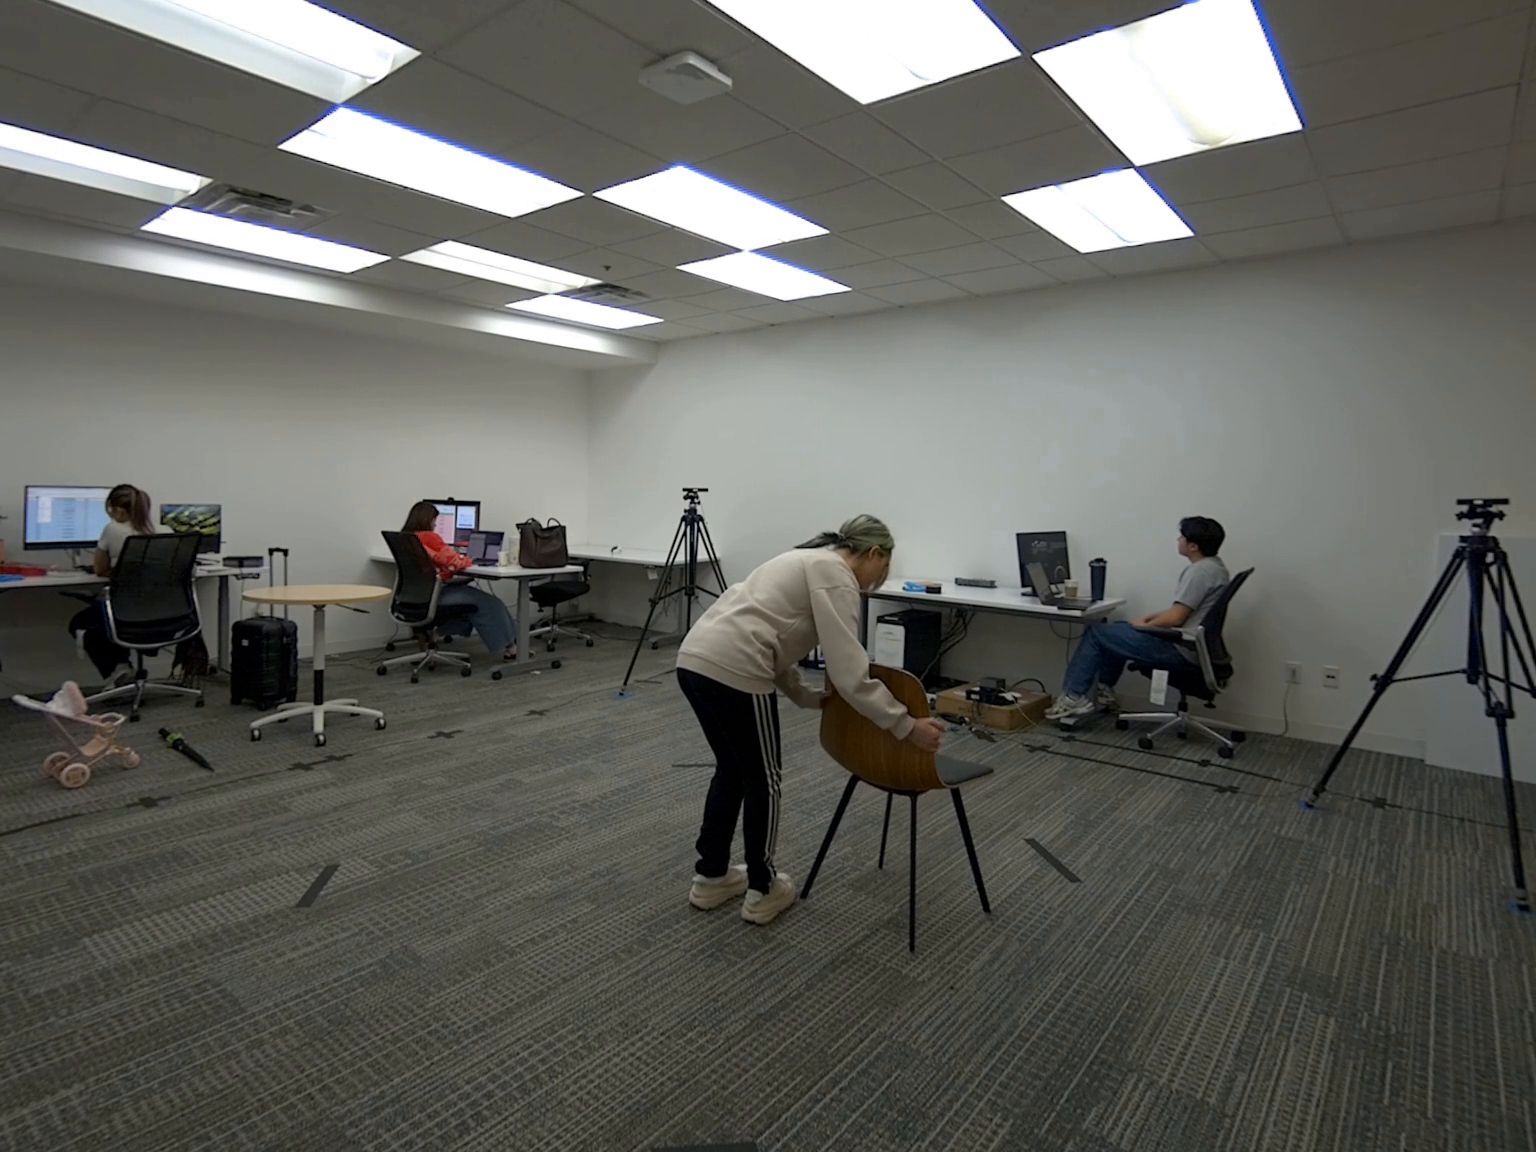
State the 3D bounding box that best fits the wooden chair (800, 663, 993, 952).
[{"bbox_3d":[0.452,0.677,2.839,0.507,0.874,0.494,-4,6,-45],"label":"wooden chair"}]
